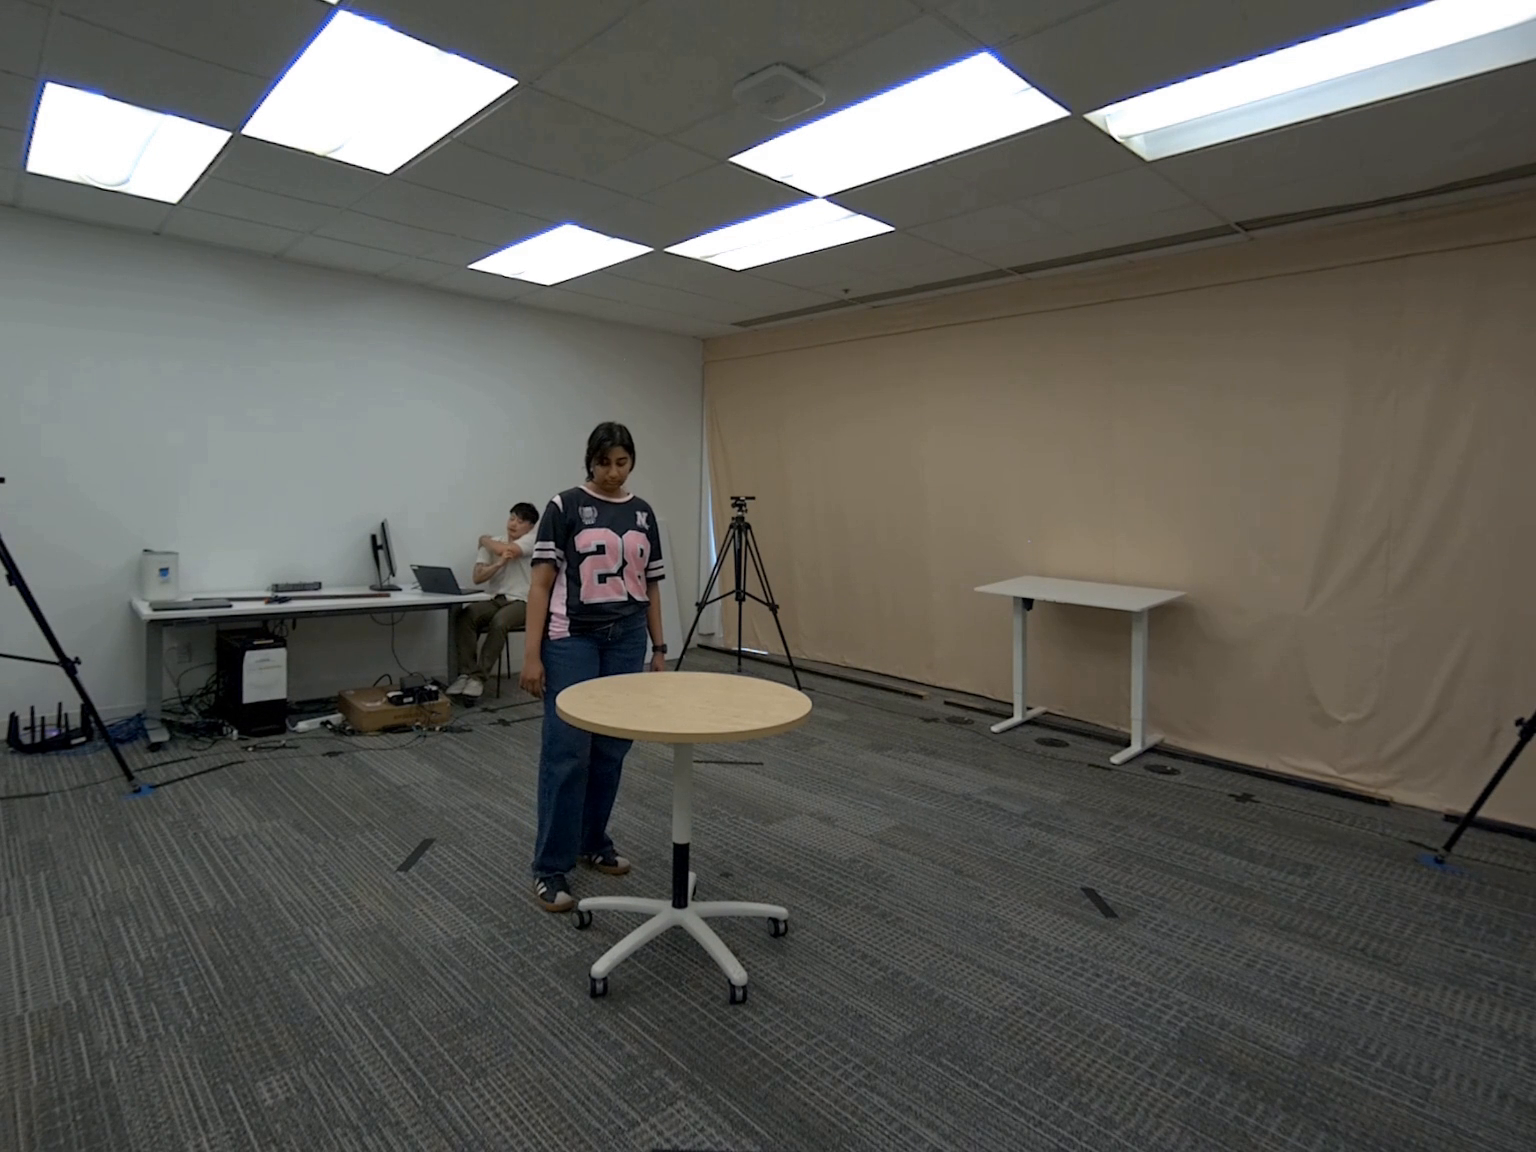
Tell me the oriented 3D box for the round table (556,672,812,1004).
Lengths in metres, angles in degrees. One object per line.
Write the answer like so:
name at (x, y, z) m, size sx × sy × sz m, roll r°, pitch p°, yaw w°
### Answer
round table at (-0.272, 0.763, 2.563) m, size 0.763 × 0.792 × 0.767 m, roll 2°, pitch 4°, yaw -1°
